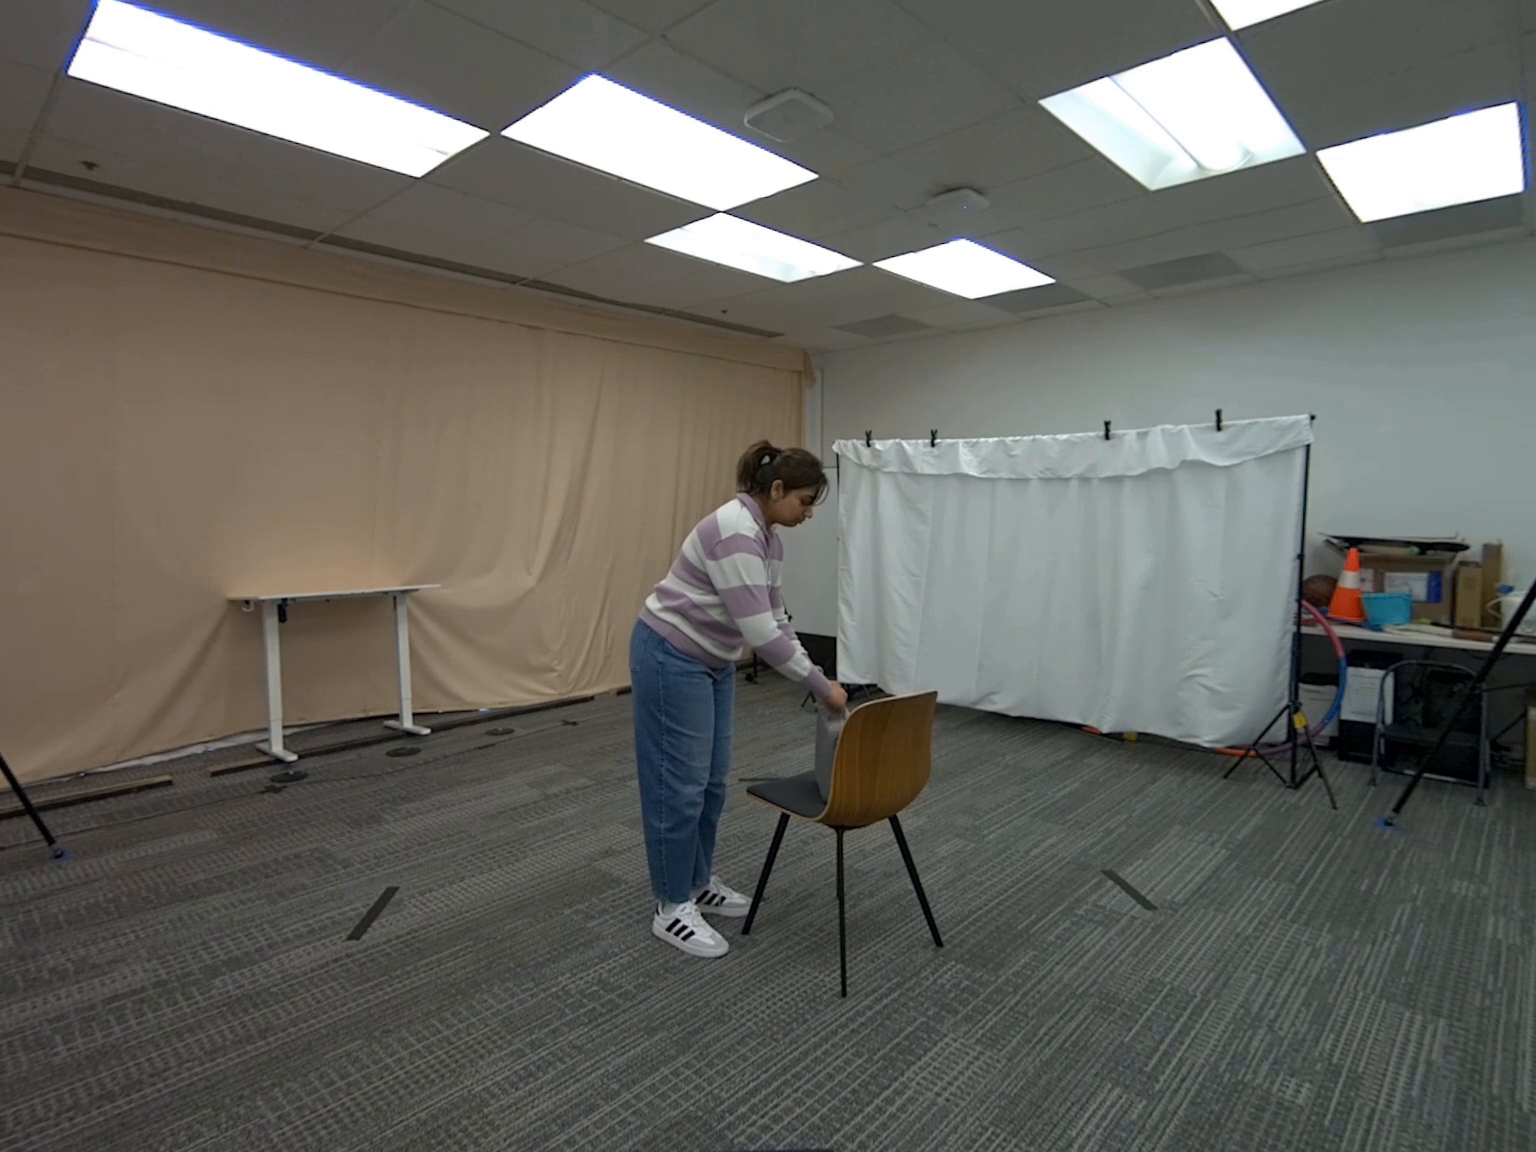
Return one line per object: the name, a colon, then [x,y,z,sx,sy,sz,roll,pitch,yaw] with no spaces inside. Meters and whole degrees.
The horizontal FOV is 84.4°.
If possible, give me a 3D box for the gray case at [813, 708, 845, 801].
gray case: [0.225,0.554,2.666,0.104,0.260,0.259,1,6,-5]
